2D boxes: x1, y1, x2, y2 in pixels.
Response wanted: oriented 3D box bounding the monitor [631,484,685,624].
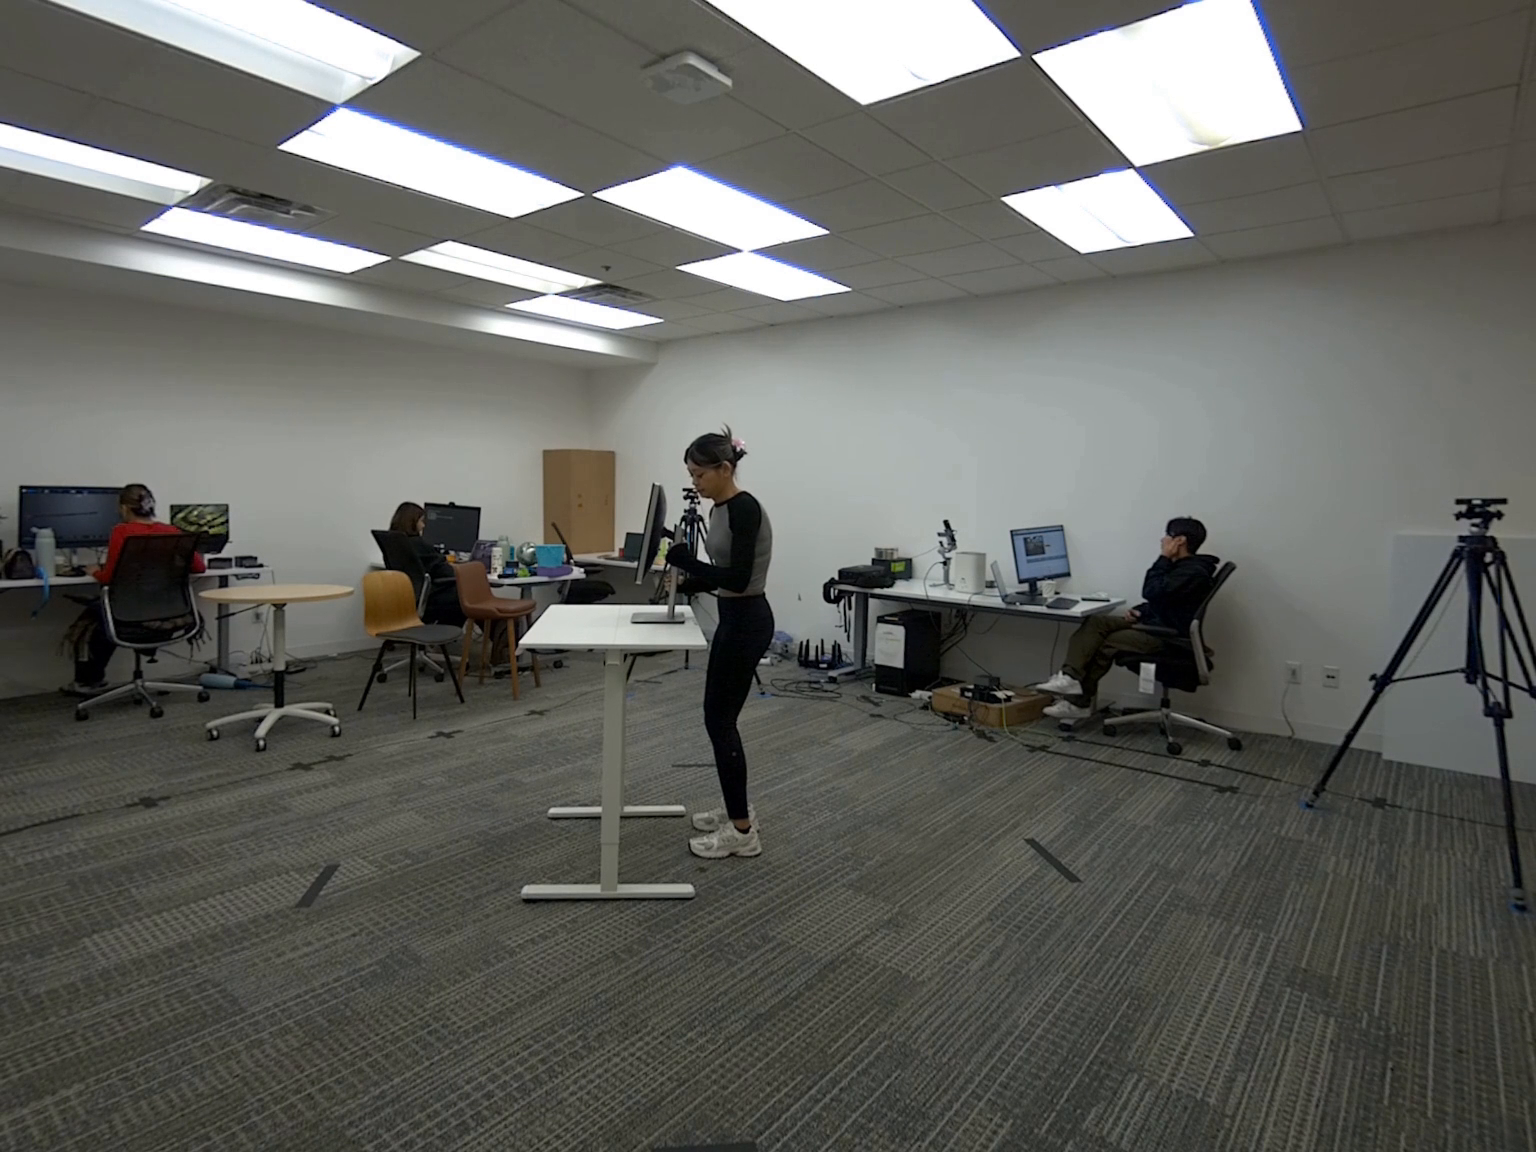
[{"bbox_3d":[-0.430,-0.086,3.283,0.186,0.521,0.544,-1,3,-7],"label":"monitor"}]
